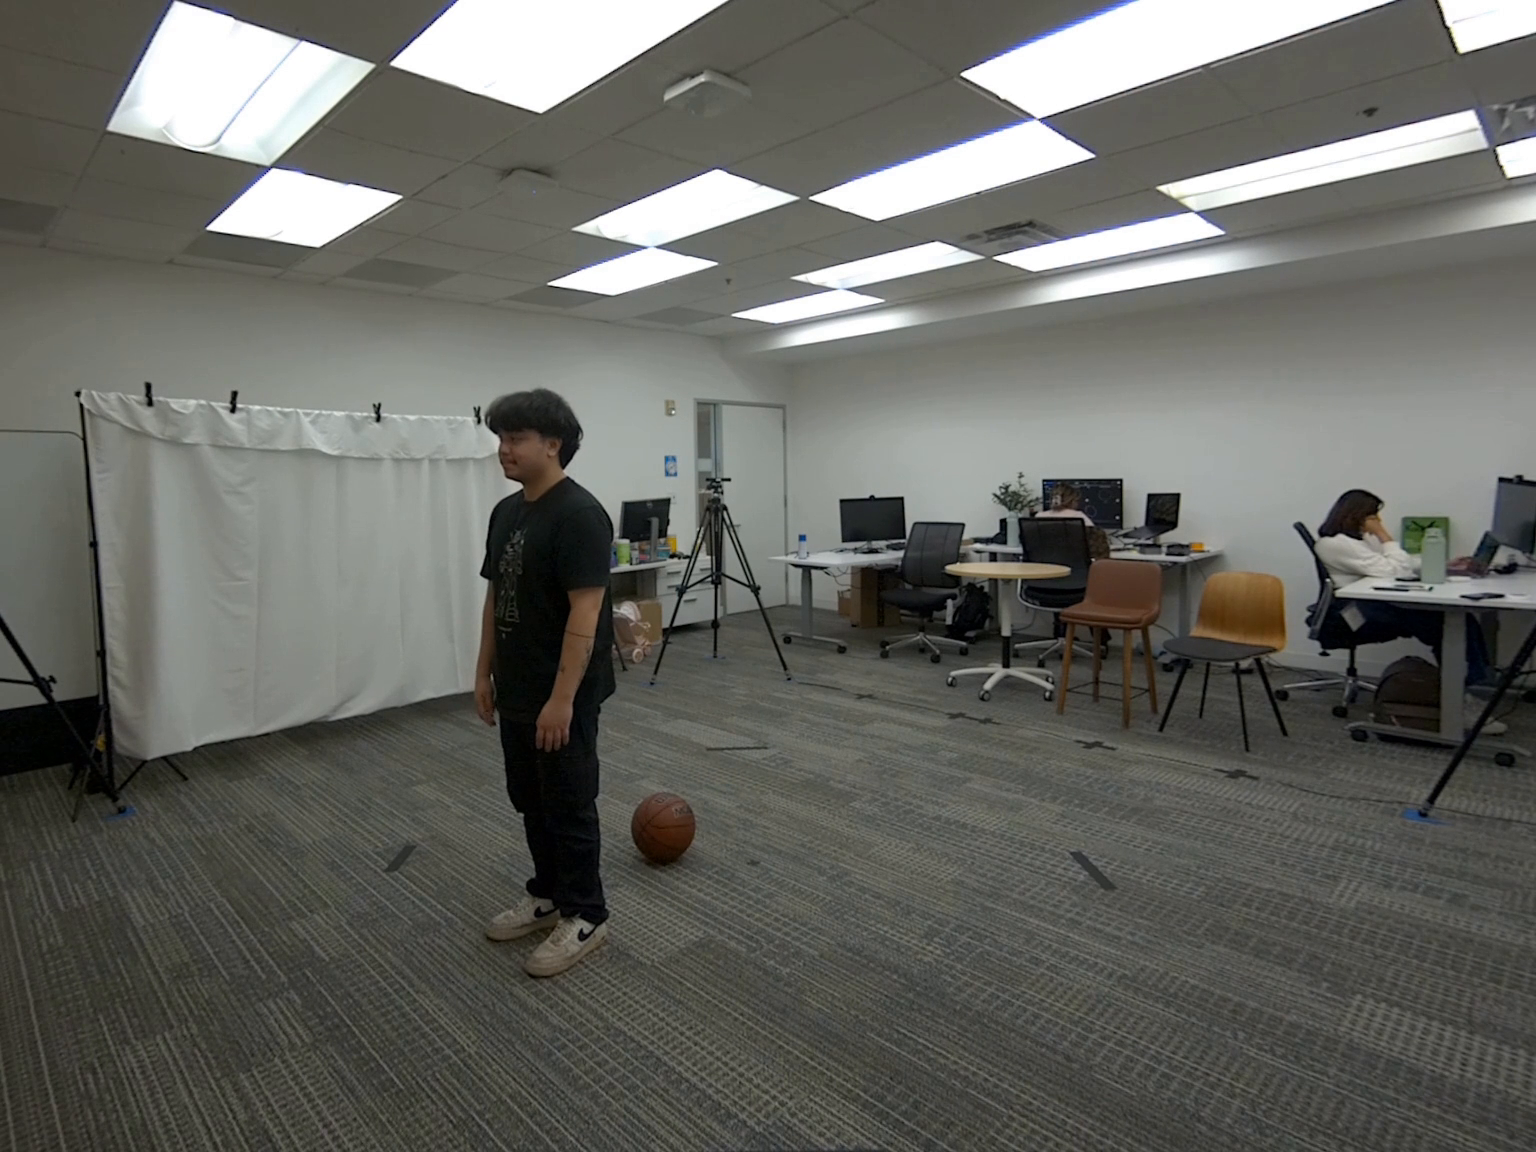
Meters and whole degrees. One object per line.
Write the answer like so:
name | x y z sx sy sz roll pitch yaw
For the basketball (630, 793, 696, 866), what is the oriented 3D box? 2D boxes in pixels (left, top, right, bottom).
basketball | -0.384 0.922 3.152 0.236 0.235 0.237 -1 5 -2
